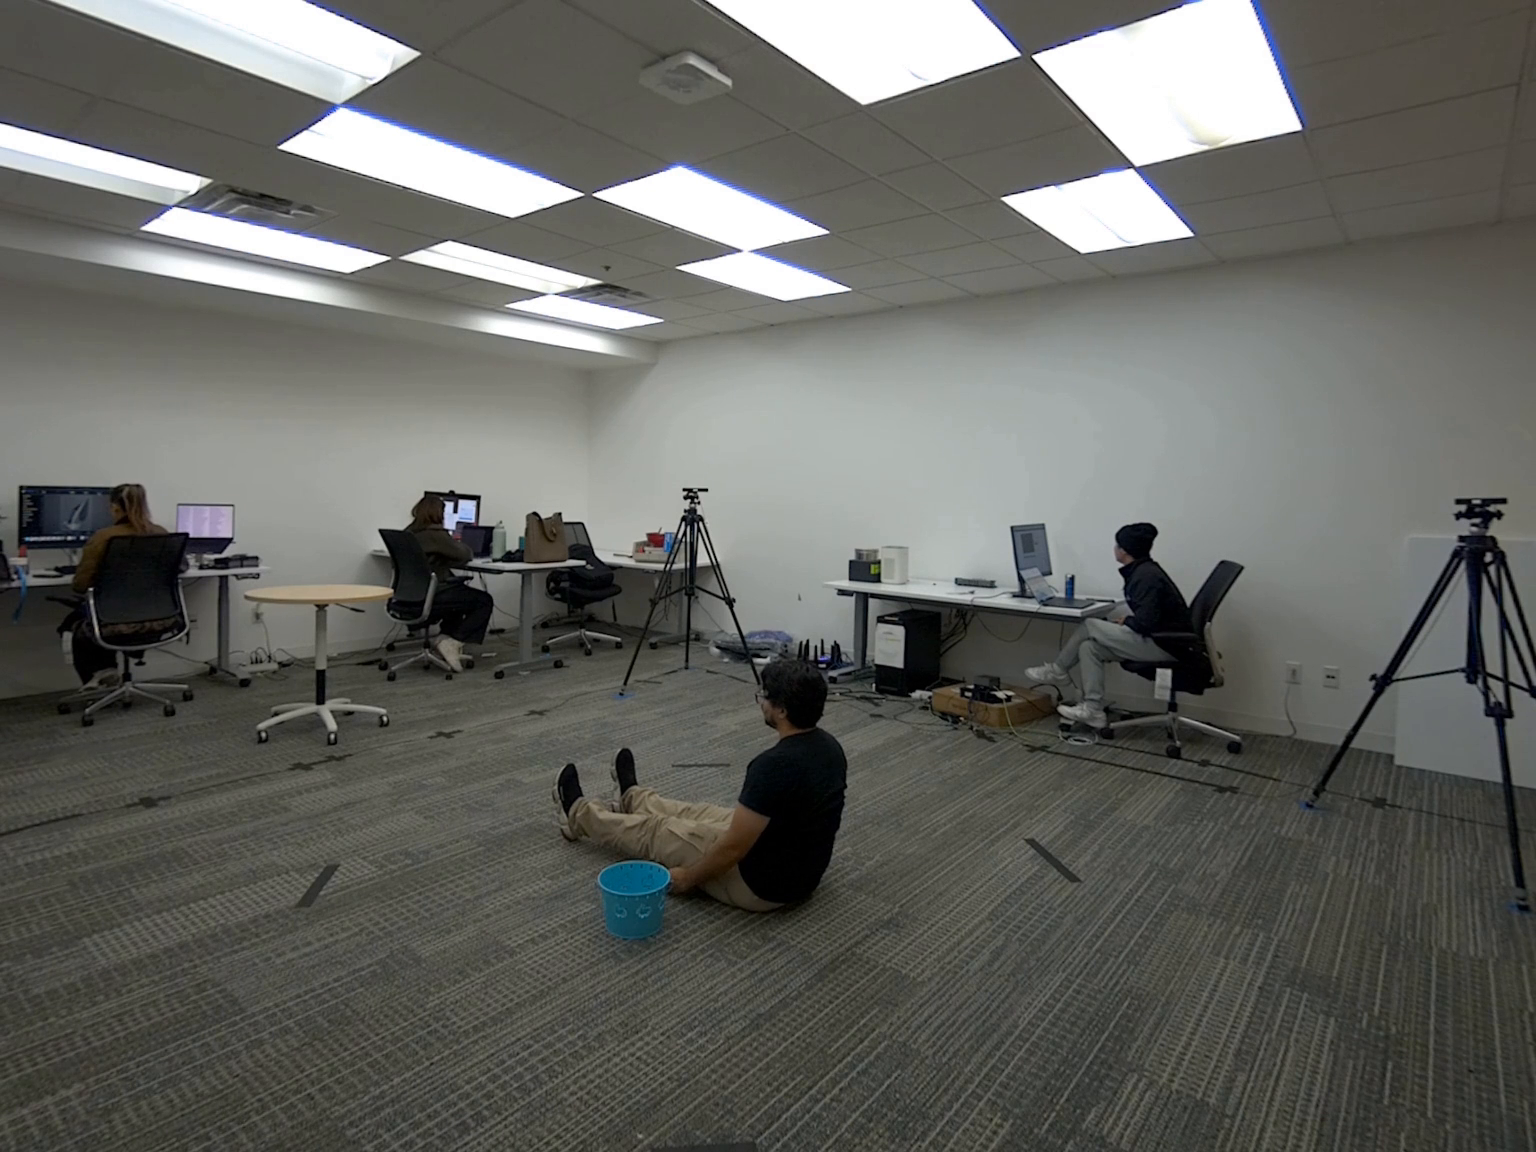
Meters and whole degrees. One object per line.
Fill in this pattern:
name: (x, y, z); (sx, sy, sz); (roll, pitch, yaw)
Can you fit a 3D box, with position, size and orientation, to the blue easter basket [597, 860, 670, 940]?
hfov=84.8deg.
blue easter basket: (-0.433, 1.028, 2.710); (0.243, 0.155, 0.245); (0, 6, -2)
